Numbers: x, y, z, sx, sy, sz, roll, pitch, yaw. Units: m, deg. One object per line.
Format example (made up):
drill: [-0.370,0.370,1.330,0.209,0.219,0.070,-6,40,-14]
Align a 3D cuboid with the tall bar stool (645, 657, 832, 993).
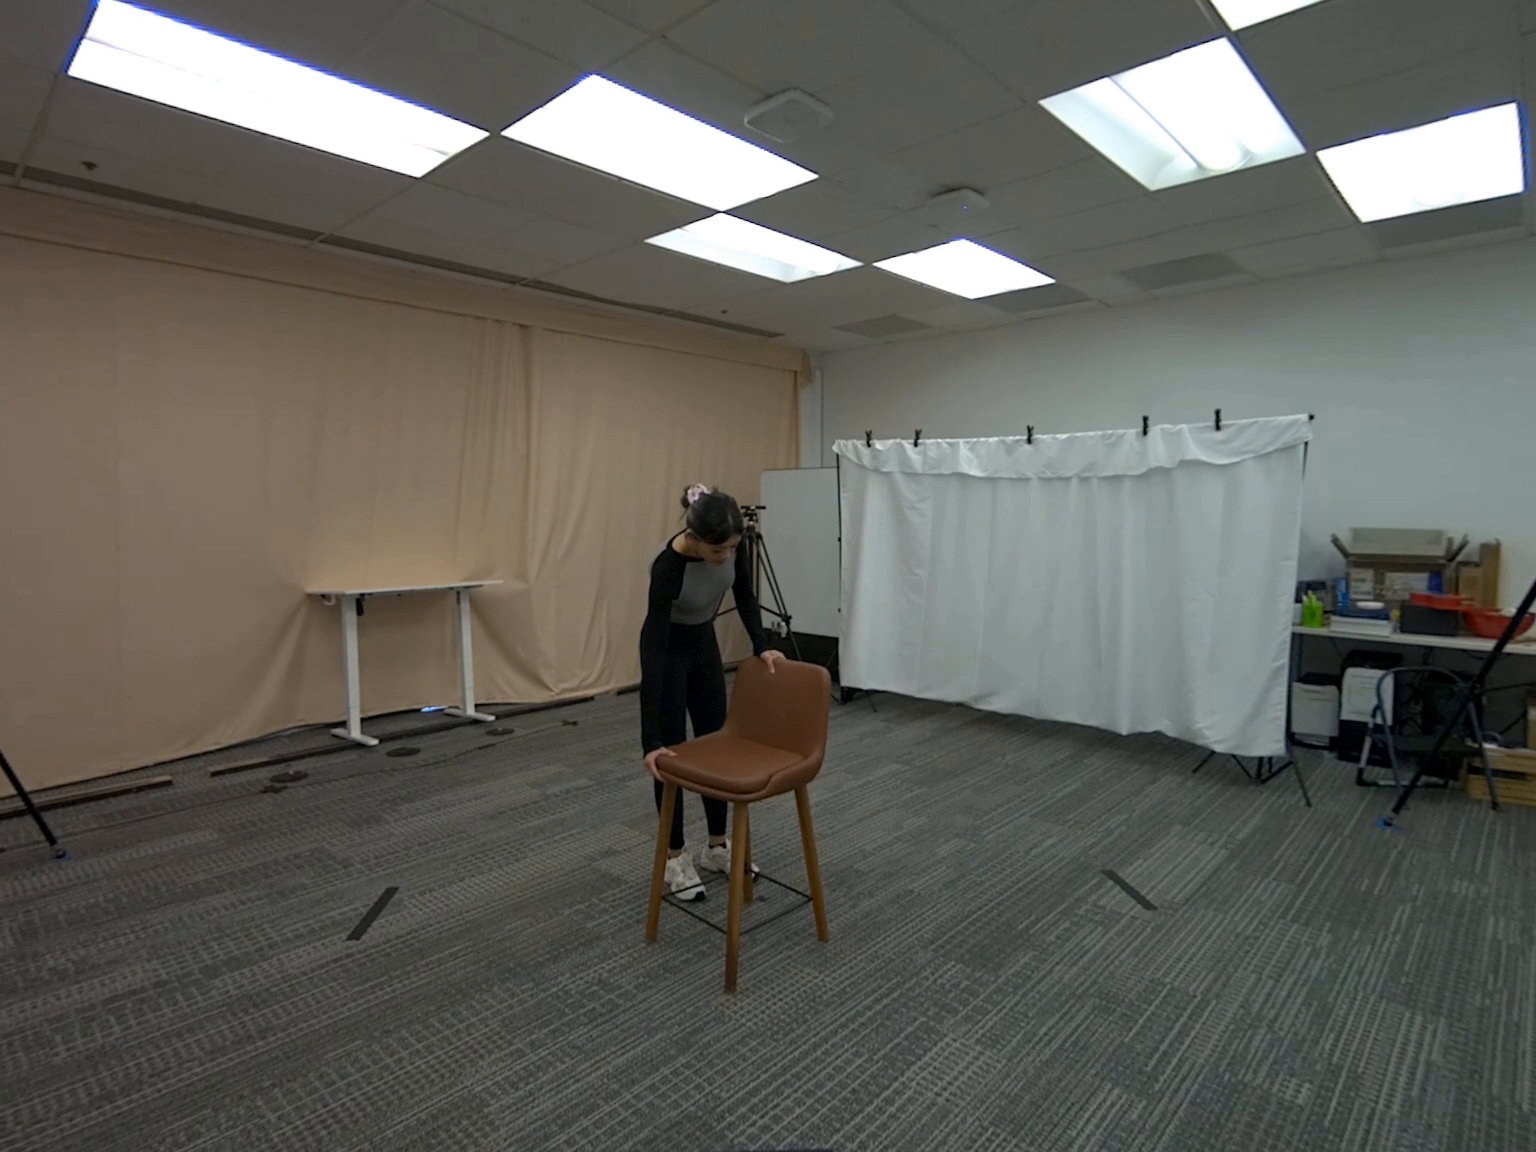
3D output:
tall bar stool: [-0.078,0.732,2.671,0.452,0.889,0.472,1,2,-44]
